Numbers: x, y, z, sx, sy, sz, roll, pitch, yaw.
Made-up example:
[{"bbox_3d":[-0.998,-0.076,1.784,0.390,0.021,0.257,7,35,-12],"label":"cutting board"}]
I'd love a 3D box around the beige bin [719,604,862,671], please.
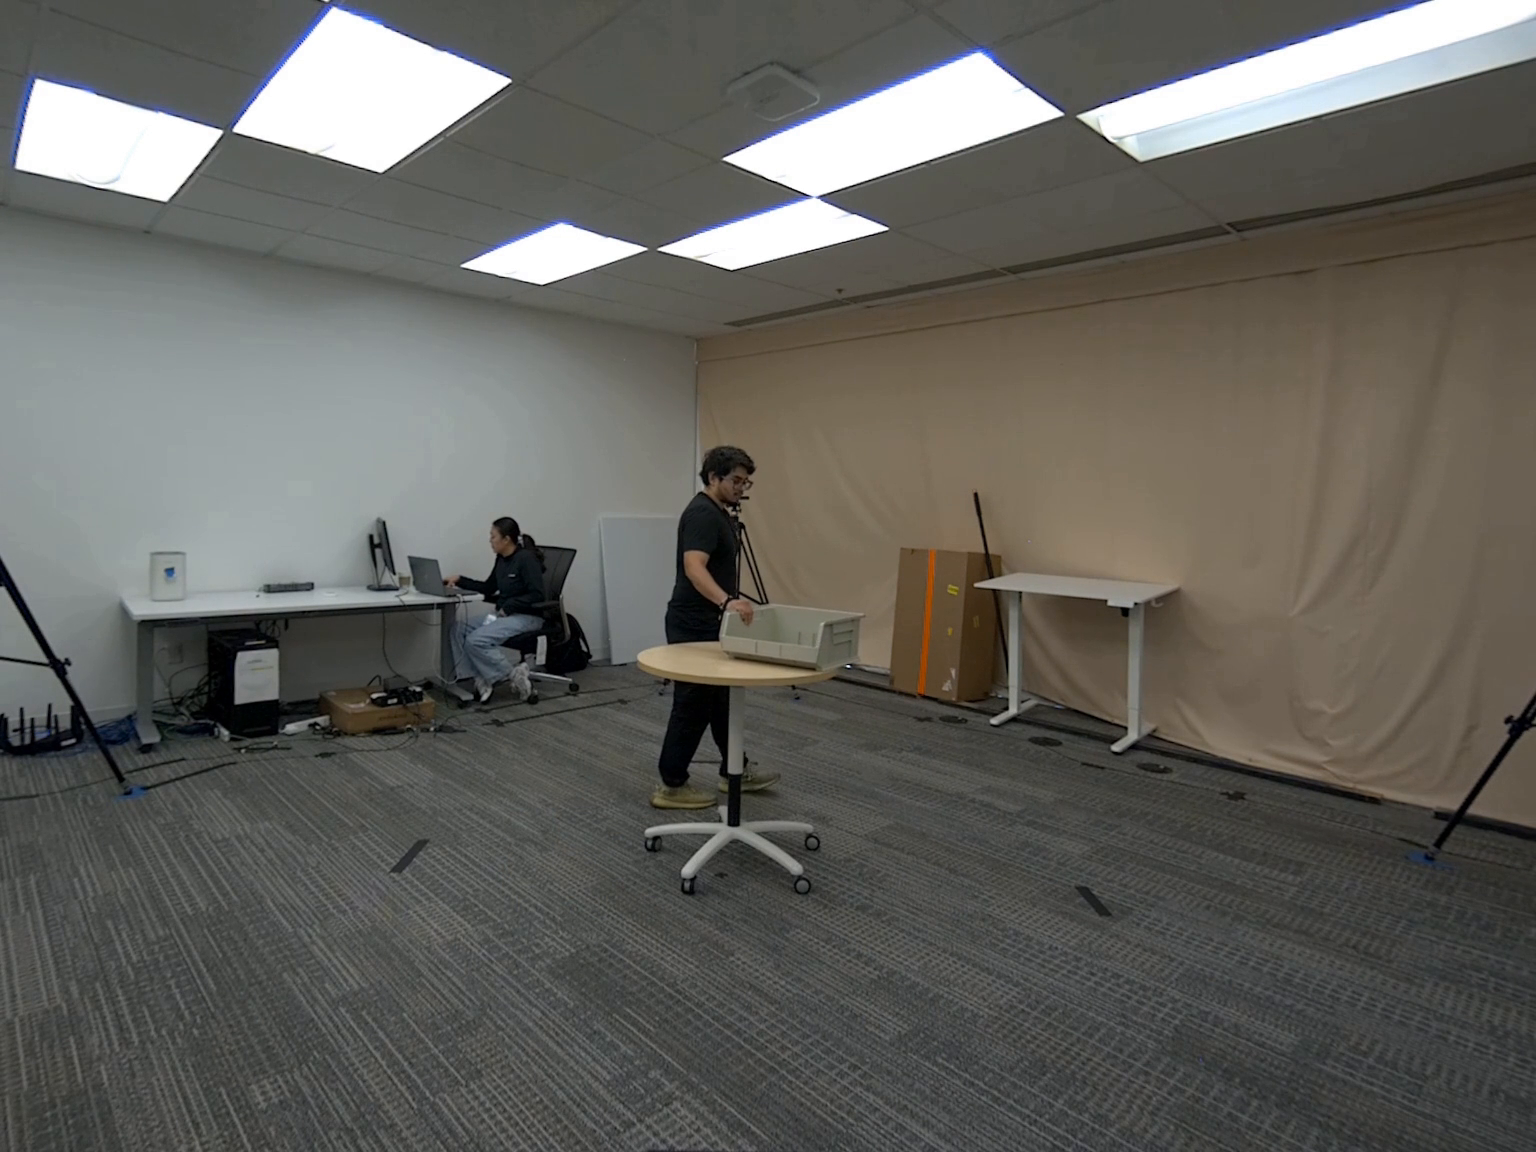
[{"bbox_3d":[0.087,0.229,3.187,0.432,0.189,0.369,4,3,33],"label":"beige bin"}]
